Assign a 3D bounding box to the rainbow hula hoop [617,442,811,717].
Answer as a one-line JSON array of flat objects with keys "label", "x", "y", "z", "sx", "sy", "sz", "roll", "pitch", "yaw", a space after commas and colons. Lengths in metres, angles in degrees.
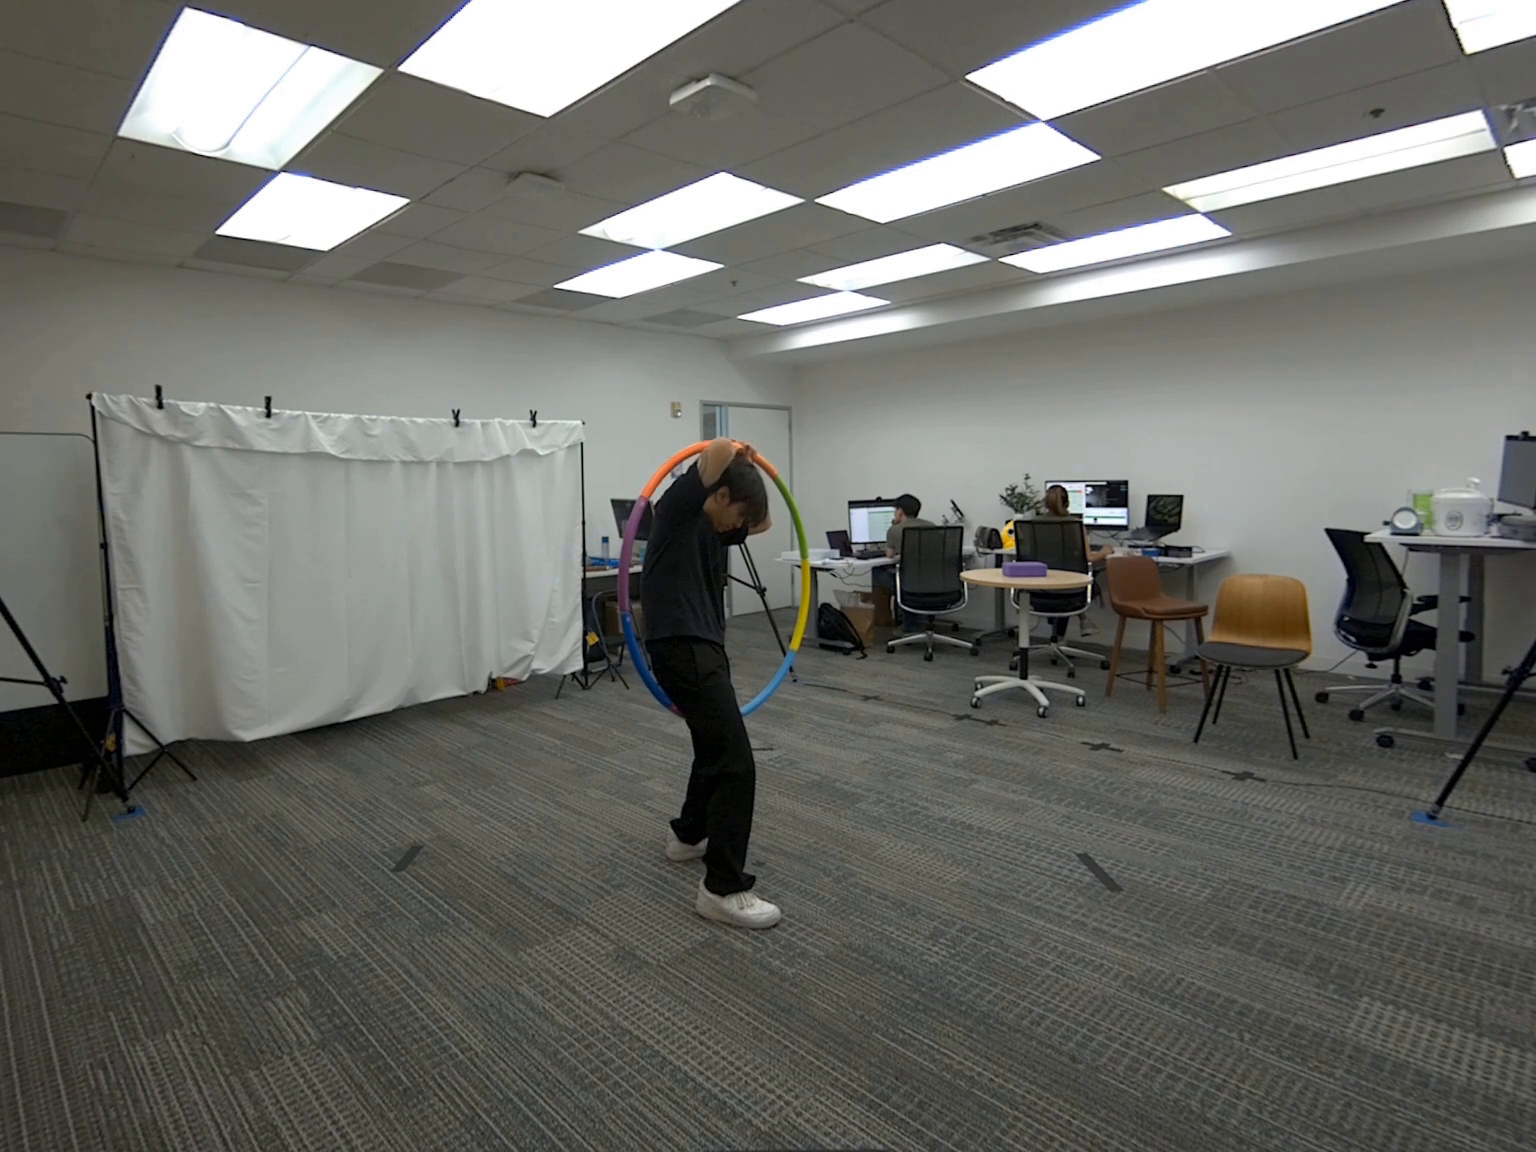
[{"label": "rainbow hula hoop", "x": -0.147, "y": 0.013, "z": 3.028, "sx": 0.036, "sy": 0.976, "sz": 0.953, "roll": -1, "pitch": 4, "yaw": 40}]
